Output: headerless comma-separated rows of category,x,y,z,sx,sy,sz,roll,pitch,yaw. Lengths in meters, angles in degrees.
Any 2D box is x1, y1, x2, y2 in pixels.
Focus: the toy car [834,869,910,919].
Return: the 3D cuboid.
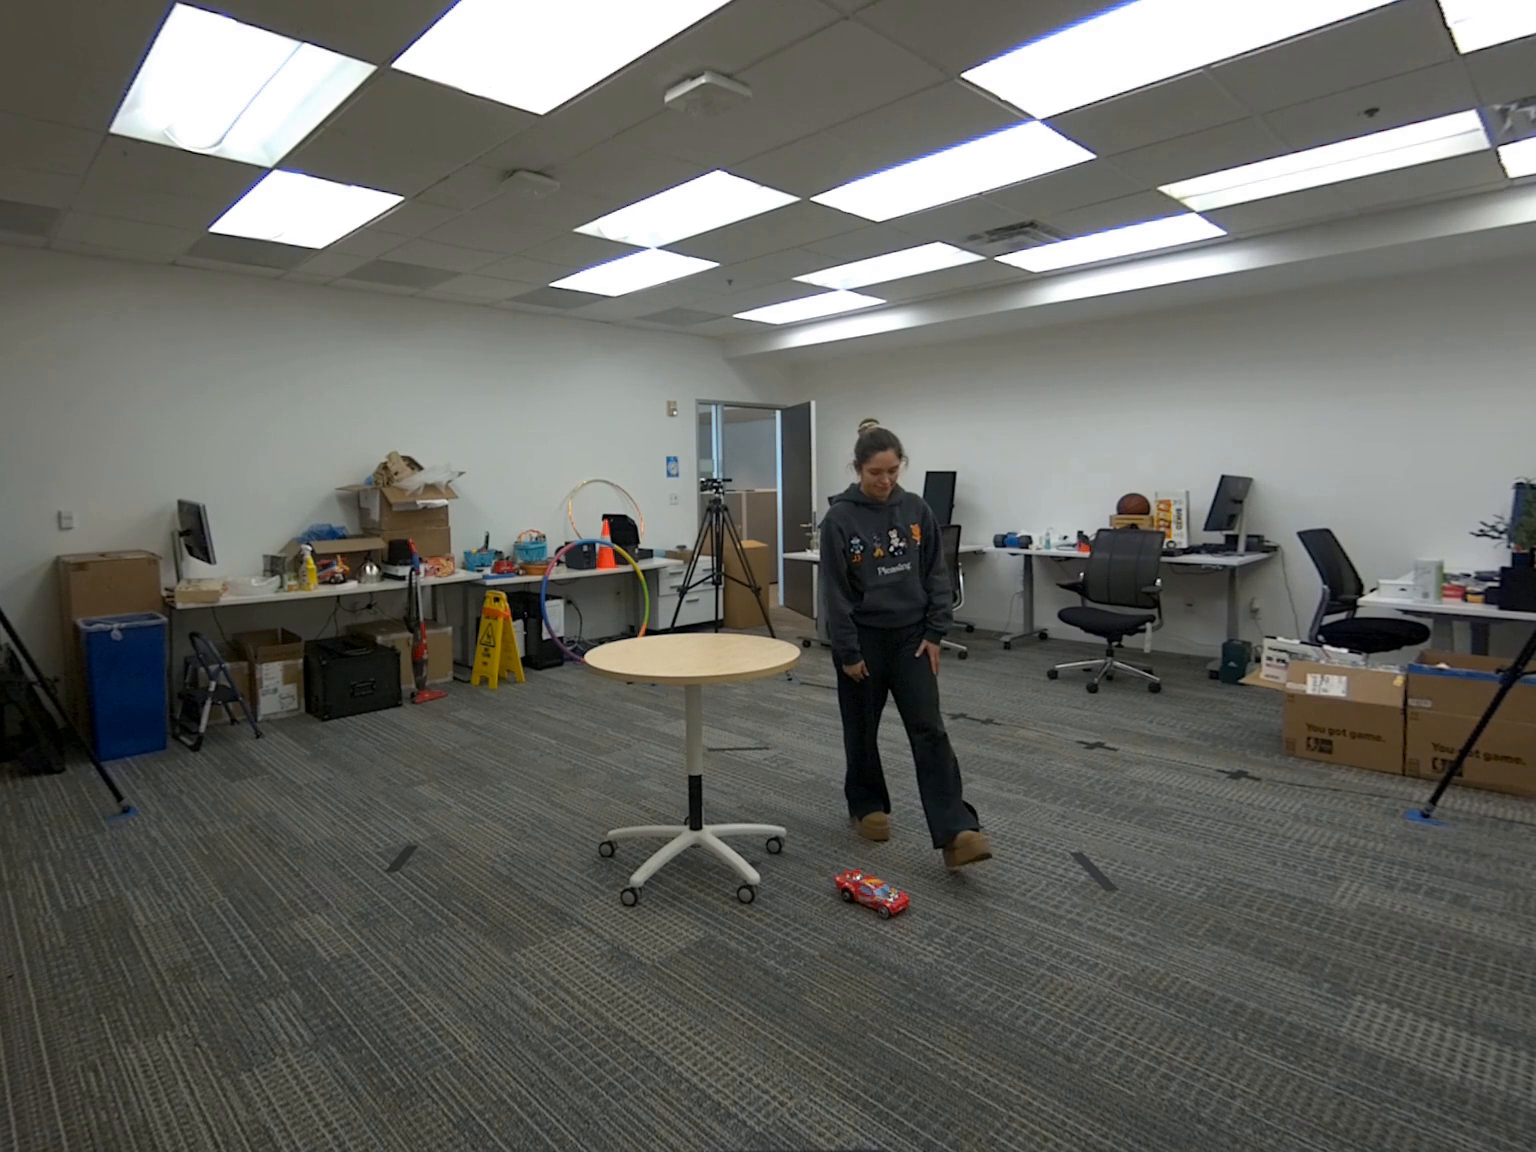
toy car,0.341,1.044,2.790,0.127,0.082,0.264,-7,19,-43
